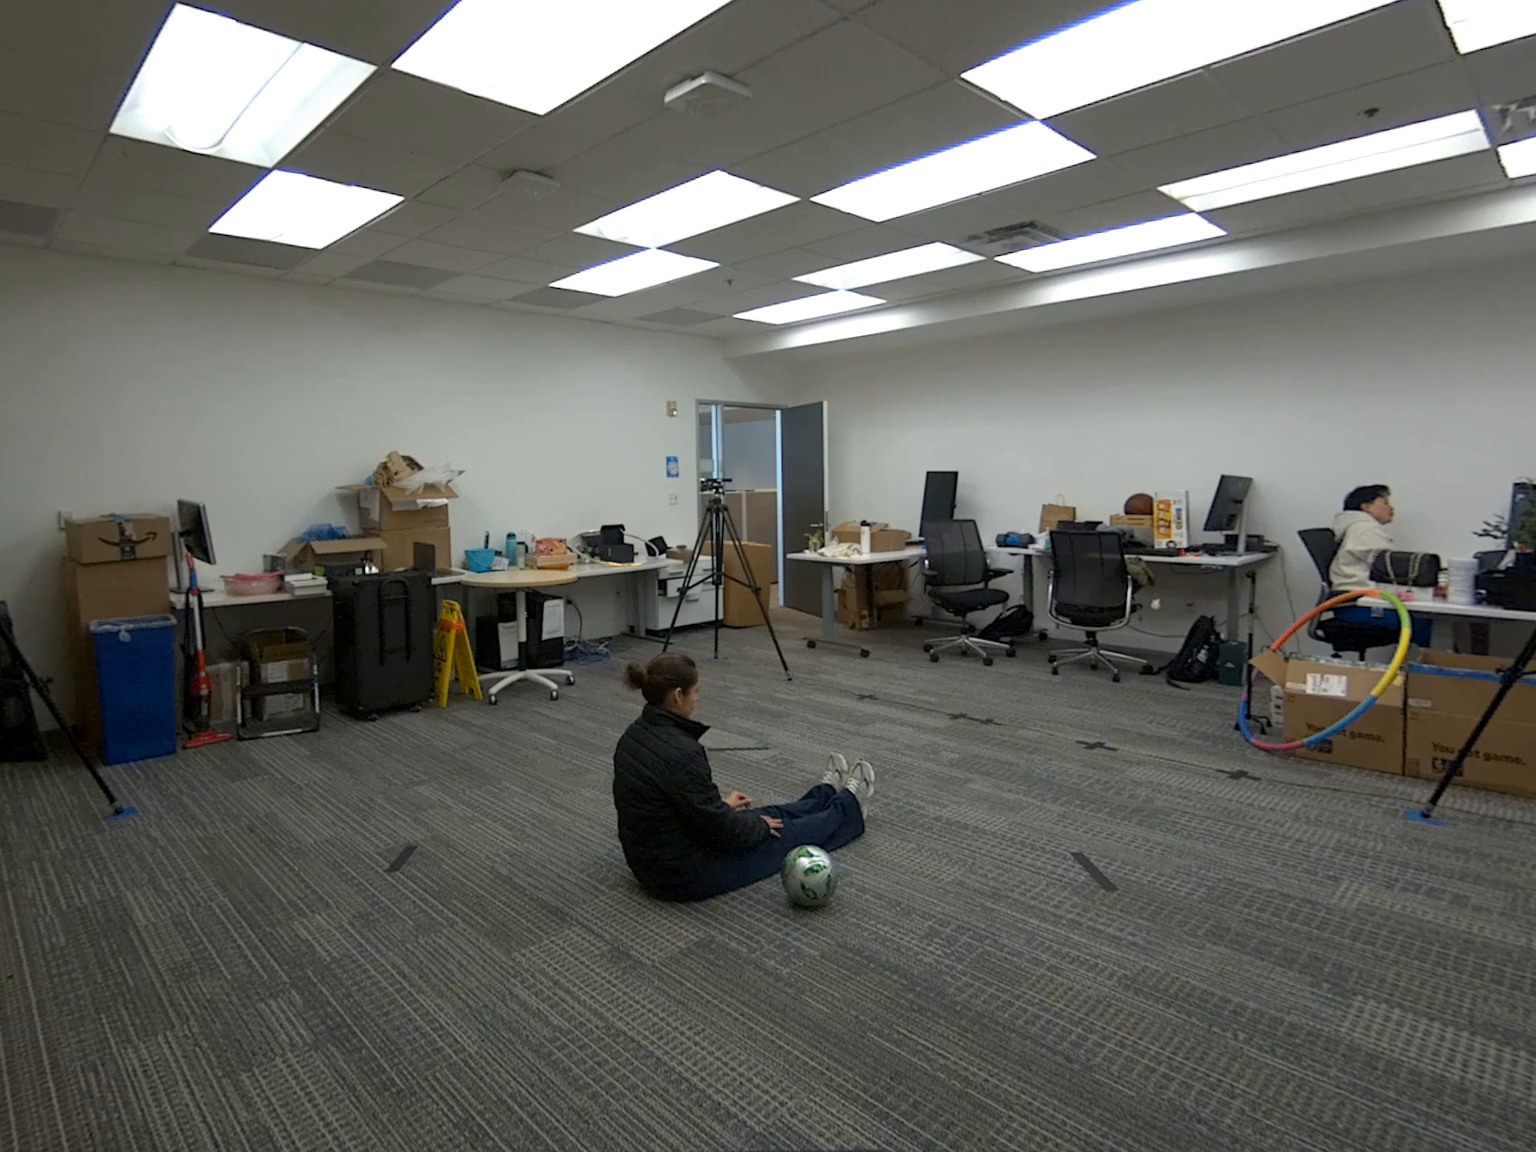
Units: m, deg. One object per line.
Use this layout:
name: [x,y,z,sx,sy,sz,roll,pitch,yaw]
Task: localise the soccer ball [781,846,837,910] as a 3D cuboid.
soccer ball: [0.137,0.978,2.795,0.187,0.187,0.188,-1,5,-2]
